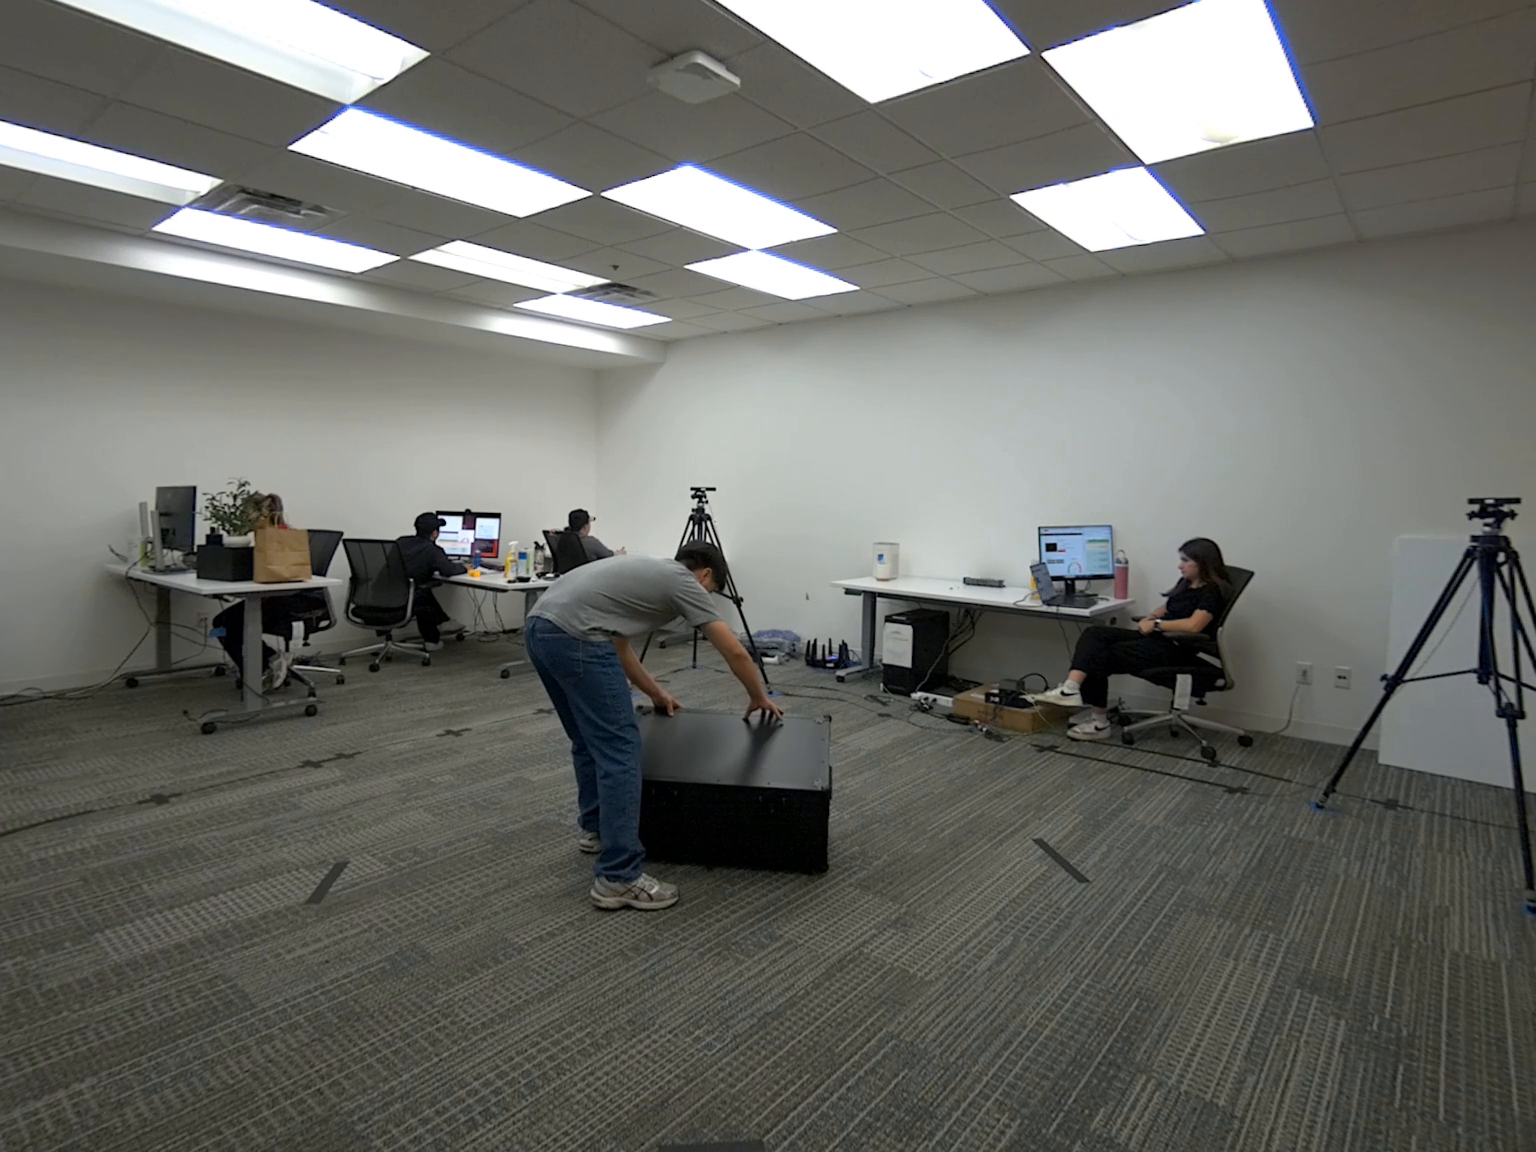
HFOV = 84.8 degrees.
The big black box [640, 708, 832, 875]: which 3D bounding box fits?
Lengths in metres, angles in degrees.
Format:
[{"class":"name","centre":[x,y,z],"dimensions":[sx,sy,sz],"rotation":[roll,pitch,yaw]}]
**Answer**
[{"class":"big black box","centre":[-0.195,0.809,3.272],"dimensions":[0.867,0.388,0.528],"rotation":[2,23,6]}]
